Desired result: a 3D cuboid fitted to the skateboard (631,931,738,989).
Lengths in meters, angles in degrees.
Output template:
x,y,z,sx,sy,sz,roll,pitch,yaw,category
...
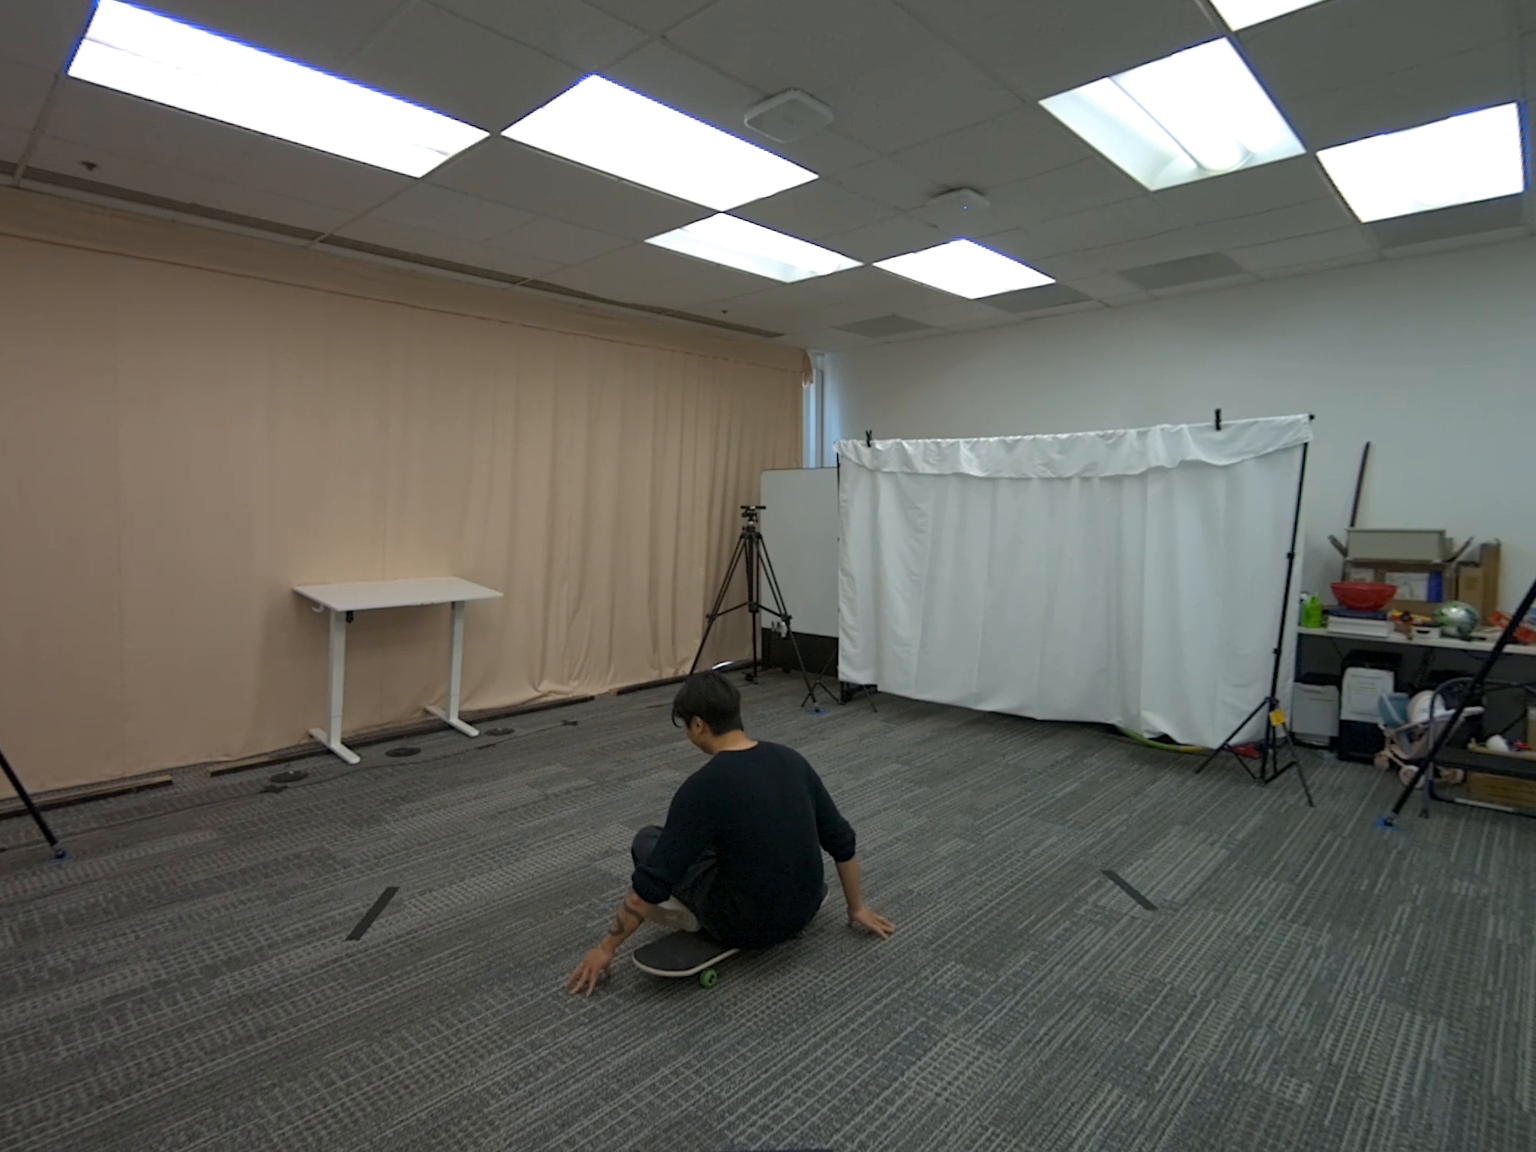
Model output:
x,y,z,sx,sy,sz,roll,pitch,yaw,category
-0.099,1.126,2.642,0.200,0.110,0.762,4,6,42,skateboard
